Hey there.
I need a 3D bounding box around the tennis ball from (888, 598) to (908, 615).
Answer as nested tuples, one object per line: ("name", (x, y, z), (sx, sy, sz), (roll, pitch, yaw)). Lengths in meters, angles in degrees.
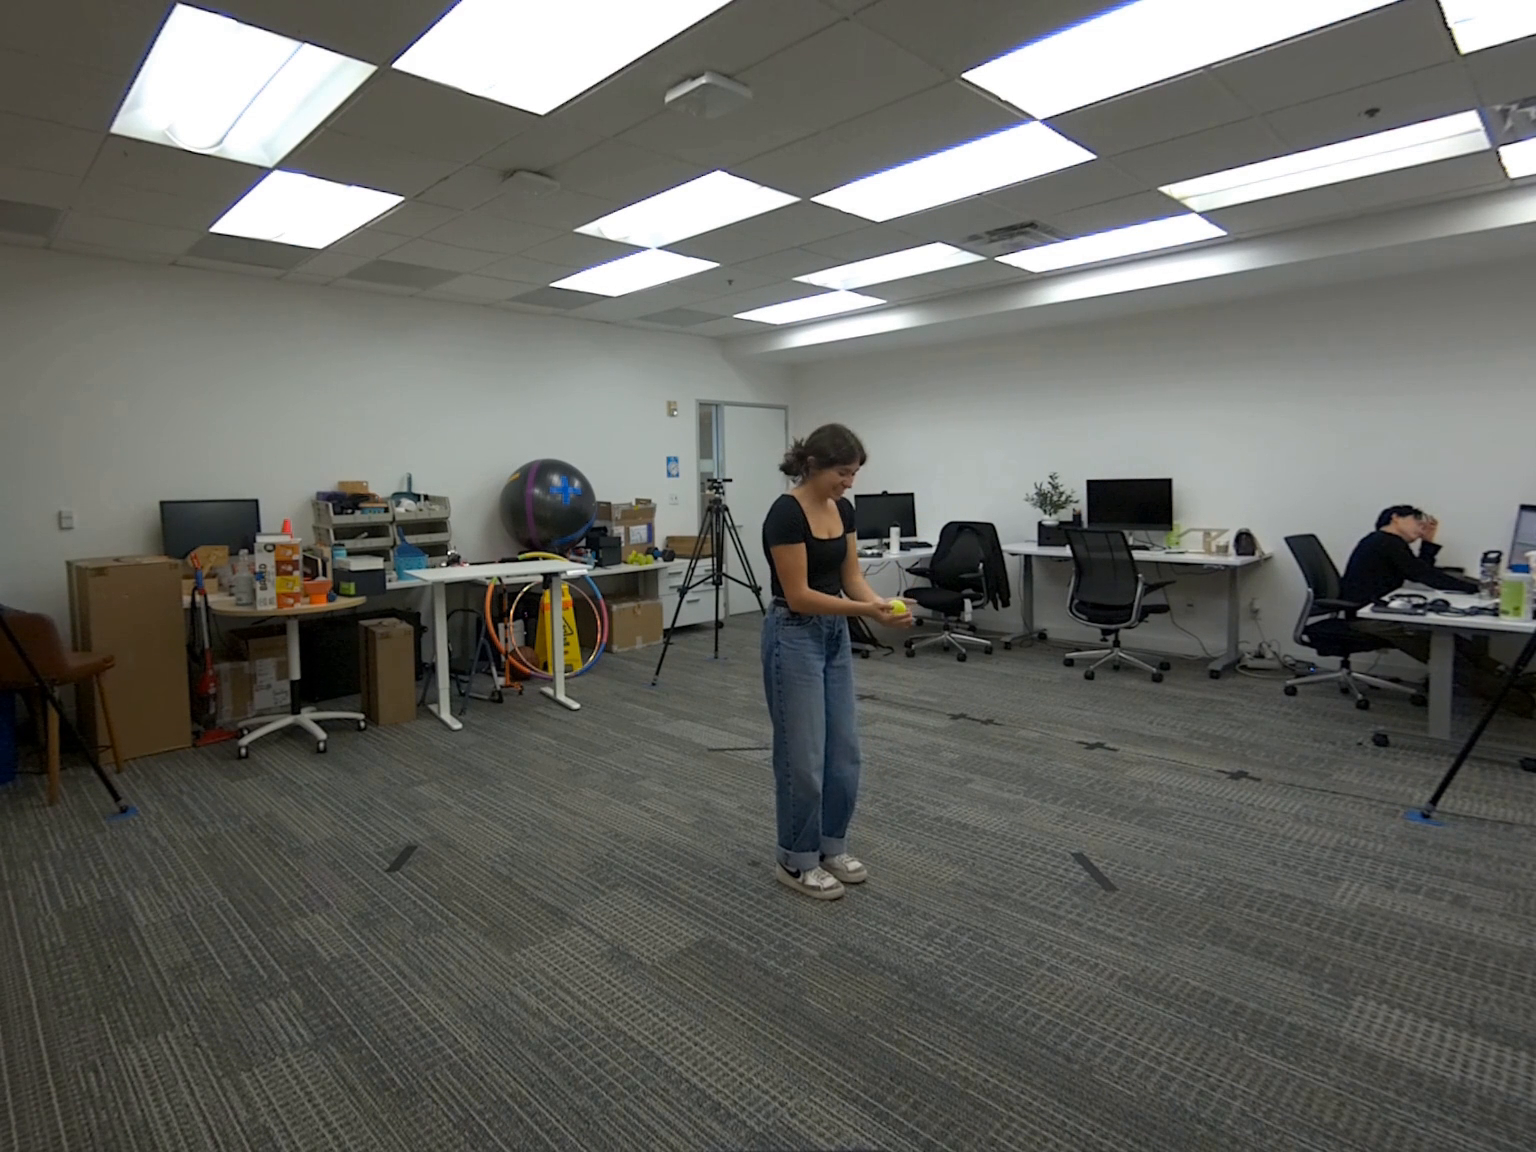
("tennis ball", (0.391, 0.096, 2.720), (0.066, 0.066, 0.067), (-1, 5, -2))
